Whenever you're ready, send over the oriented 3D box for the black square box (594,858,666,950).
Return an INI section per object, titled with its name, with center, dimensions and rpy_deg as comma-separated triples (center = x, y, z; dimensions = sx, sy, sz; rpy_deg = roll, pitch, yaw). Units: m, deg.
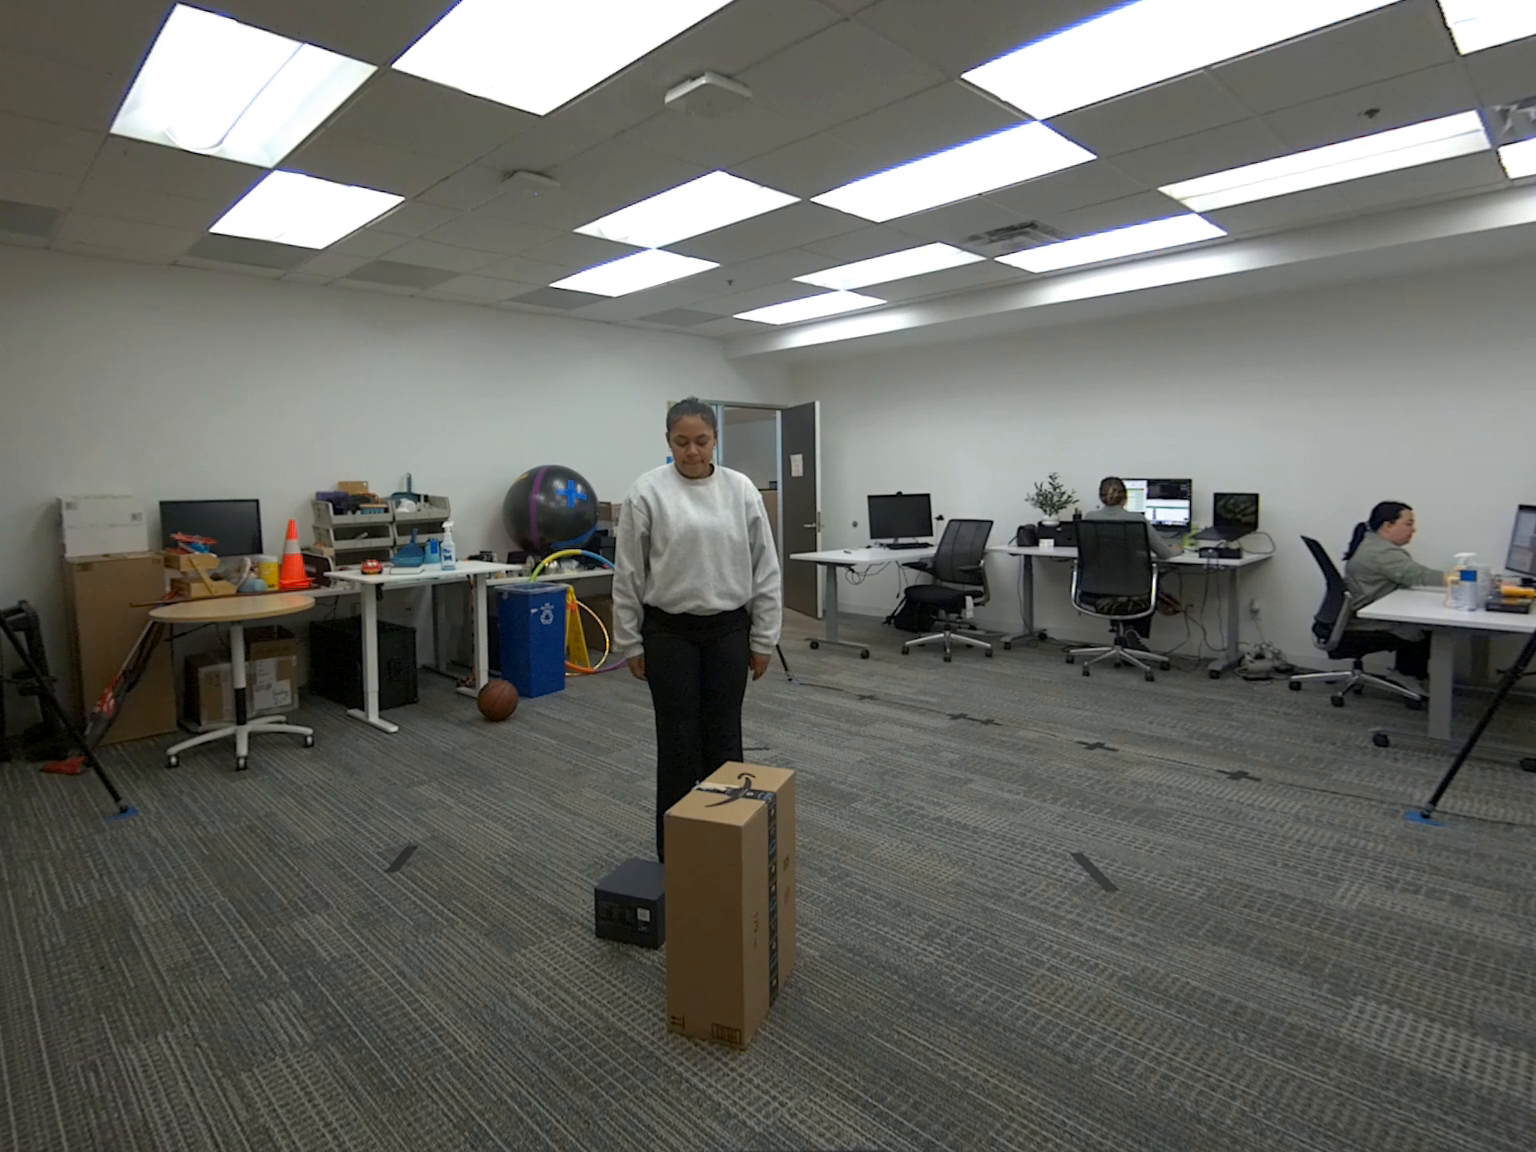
[black square box]
center = -0.391, 1.021, 2.680
dimensions = 0.221, 0.155, 0.225
rpy_deg = 1, 7, 20
